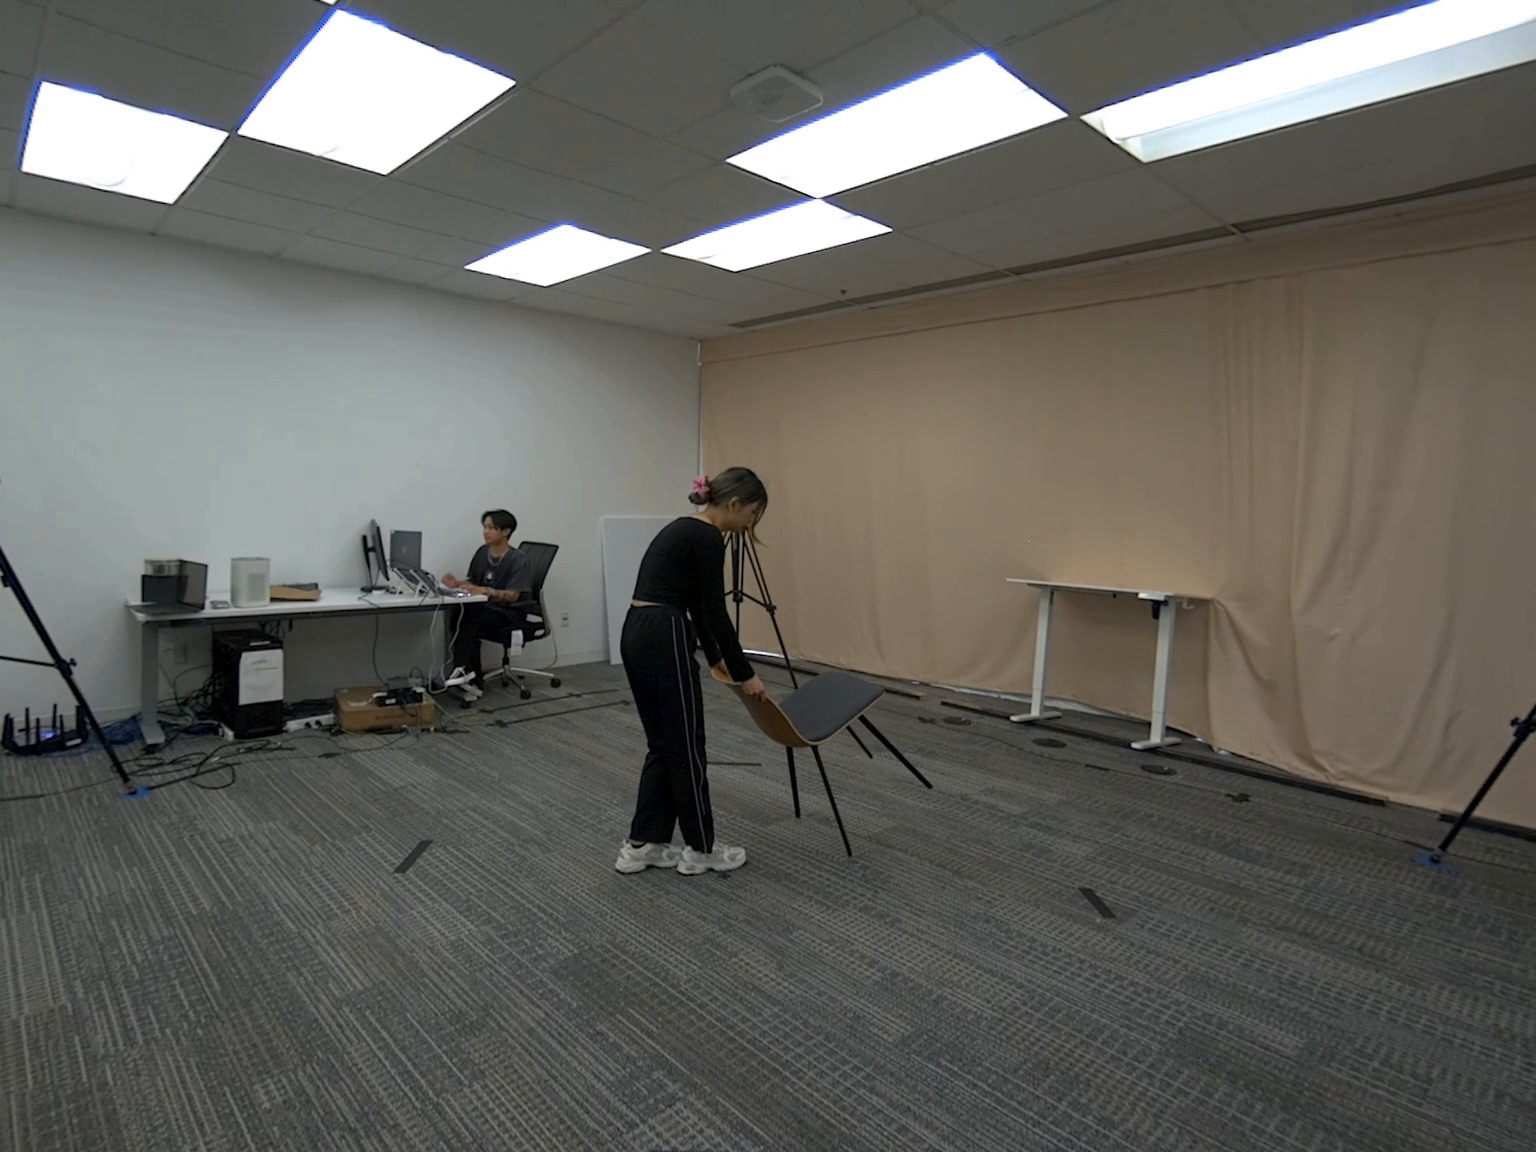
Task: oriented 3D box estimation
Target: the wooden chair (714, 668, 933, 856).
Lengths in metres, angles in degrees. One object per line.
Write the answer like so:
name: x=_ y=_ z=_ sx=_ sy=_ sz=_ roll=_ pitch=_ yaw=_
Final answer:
wooden chair: x=0.203 y=0.594 z=3.462 sx=0.521 sy=0.863 sz=0.487 roll=-38 pitch=17 yaw=-18
